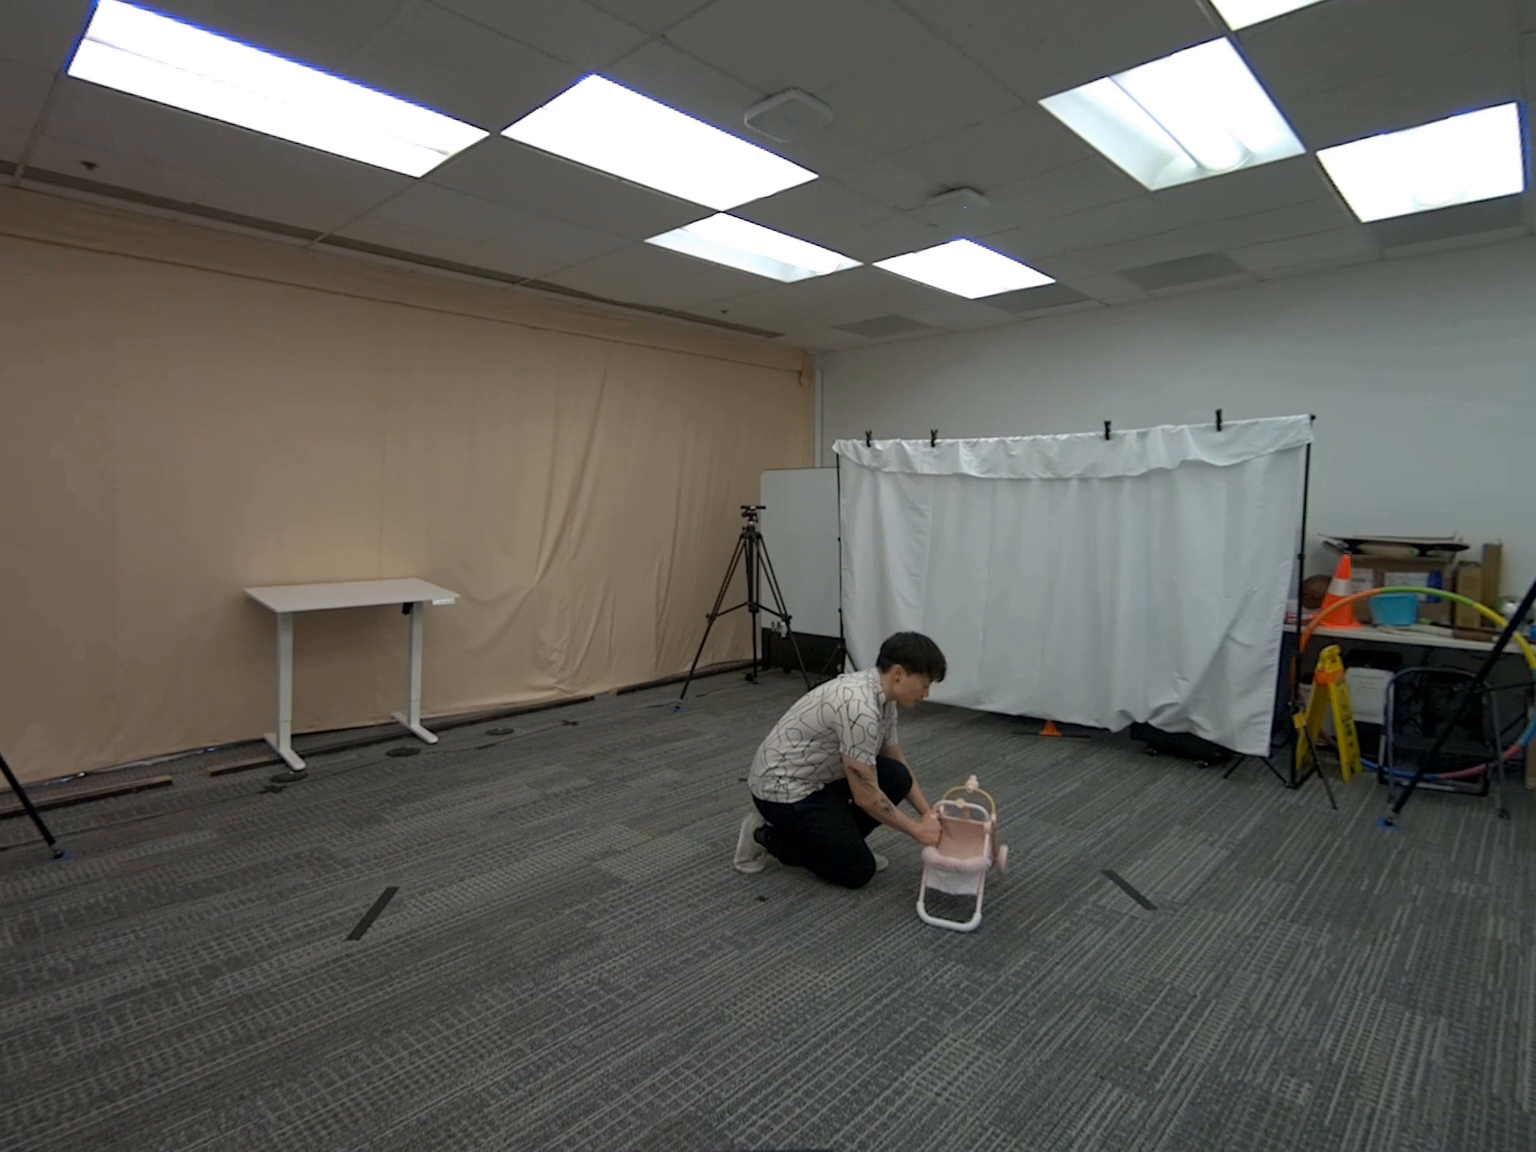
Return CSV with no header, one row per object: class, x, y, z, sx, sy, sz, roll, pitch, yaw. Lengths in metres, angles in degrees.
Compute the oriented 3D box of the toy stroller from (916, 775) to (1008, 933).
toy stroller,0.697,0.954,2.971,0.289,0.339,0.524,7,11,25
